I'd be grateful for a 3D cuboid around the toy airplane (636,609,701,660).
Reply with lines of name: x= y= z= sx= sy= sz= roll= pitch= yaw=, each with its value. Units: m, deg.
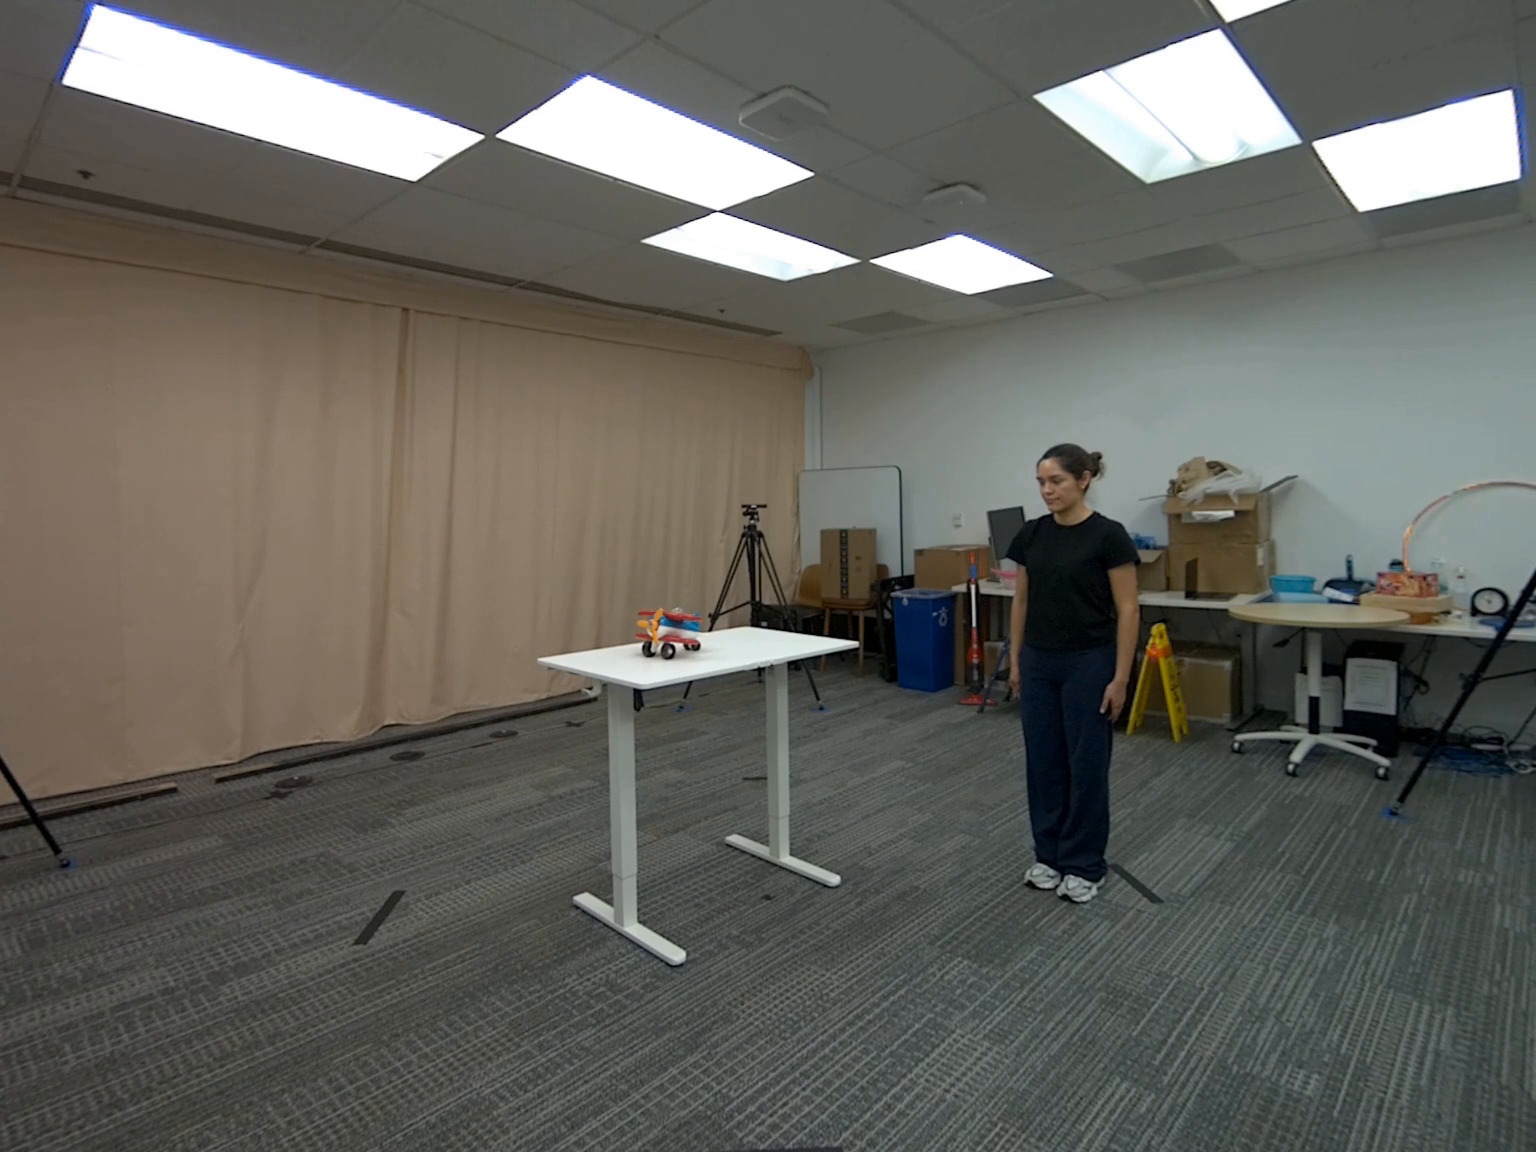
toy airplane: x=-0.321 y=0.196 z=2.915 sx=0.253 sy=0.156 sz=0.257 roll=-1 pitch=5 yaw=8
